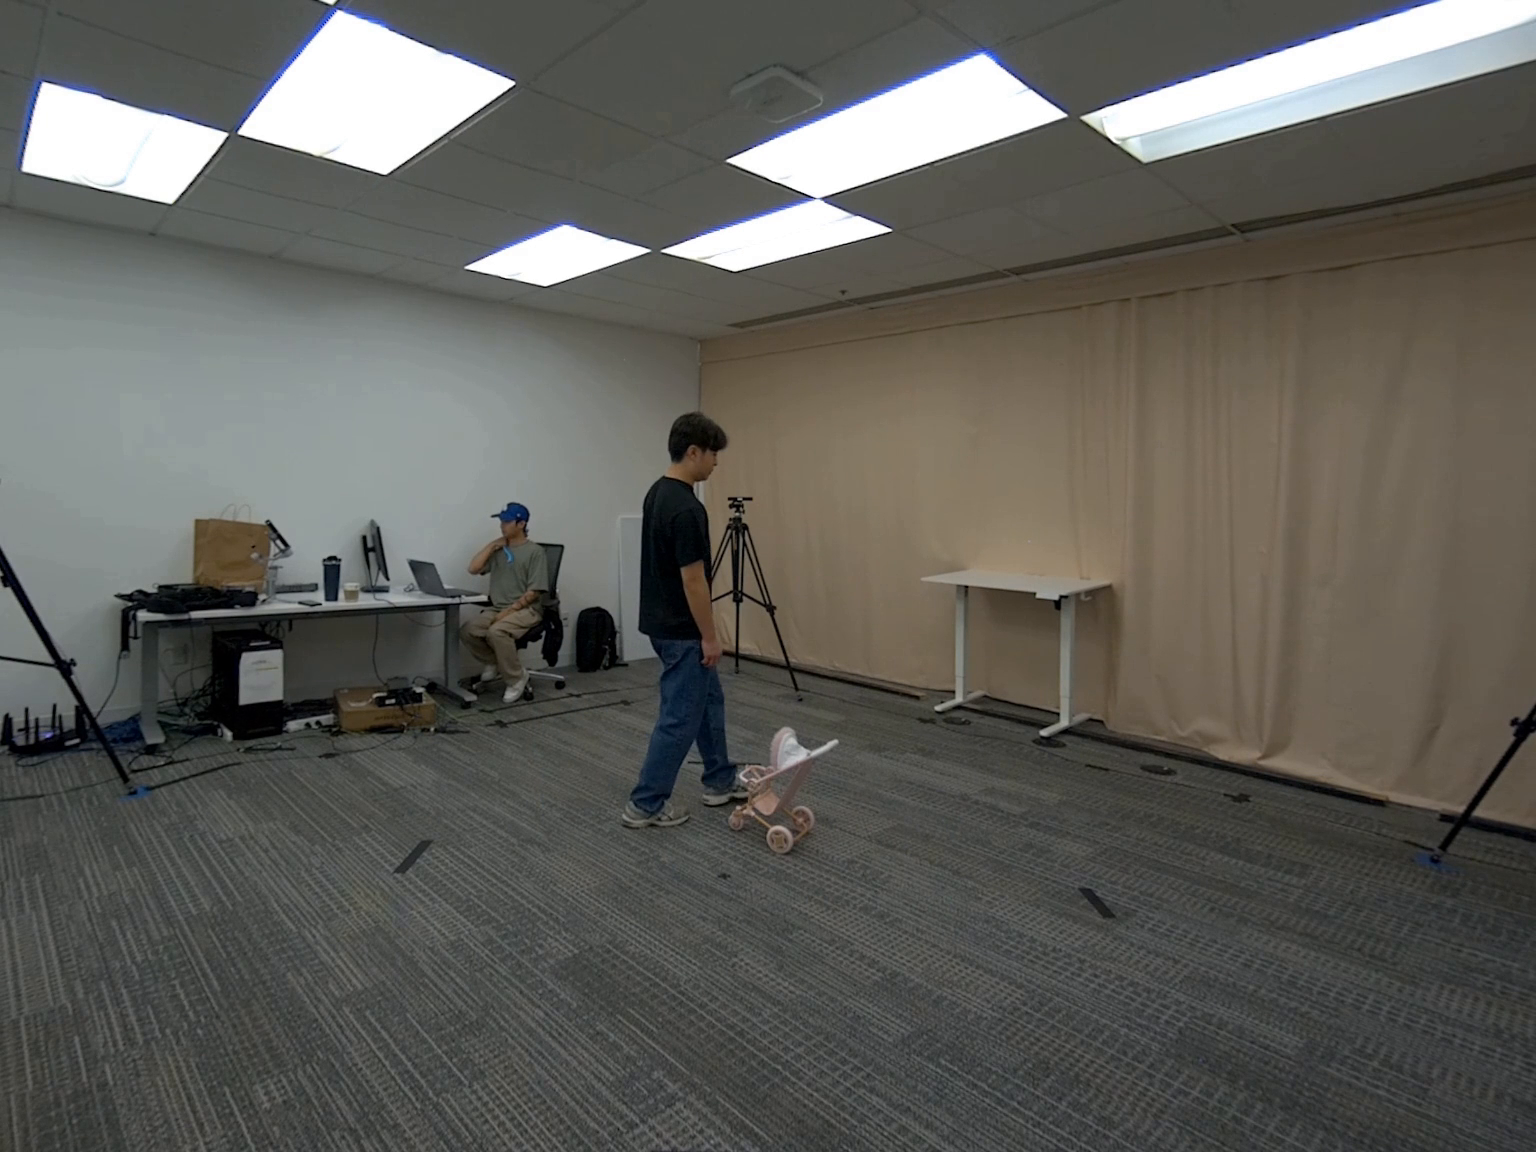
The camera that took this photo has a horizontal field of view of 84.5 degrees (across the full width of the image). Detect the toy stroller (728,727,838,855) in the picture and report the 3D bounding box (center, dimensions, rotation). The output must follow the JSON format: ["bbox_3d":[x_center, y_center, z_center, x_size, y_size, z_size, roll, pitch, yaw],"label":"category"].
[{"bbox_3d":[0.034,0.855,3.451,0.350,0.532,0.276,22,12,27],"label":"toy stroller"}]
